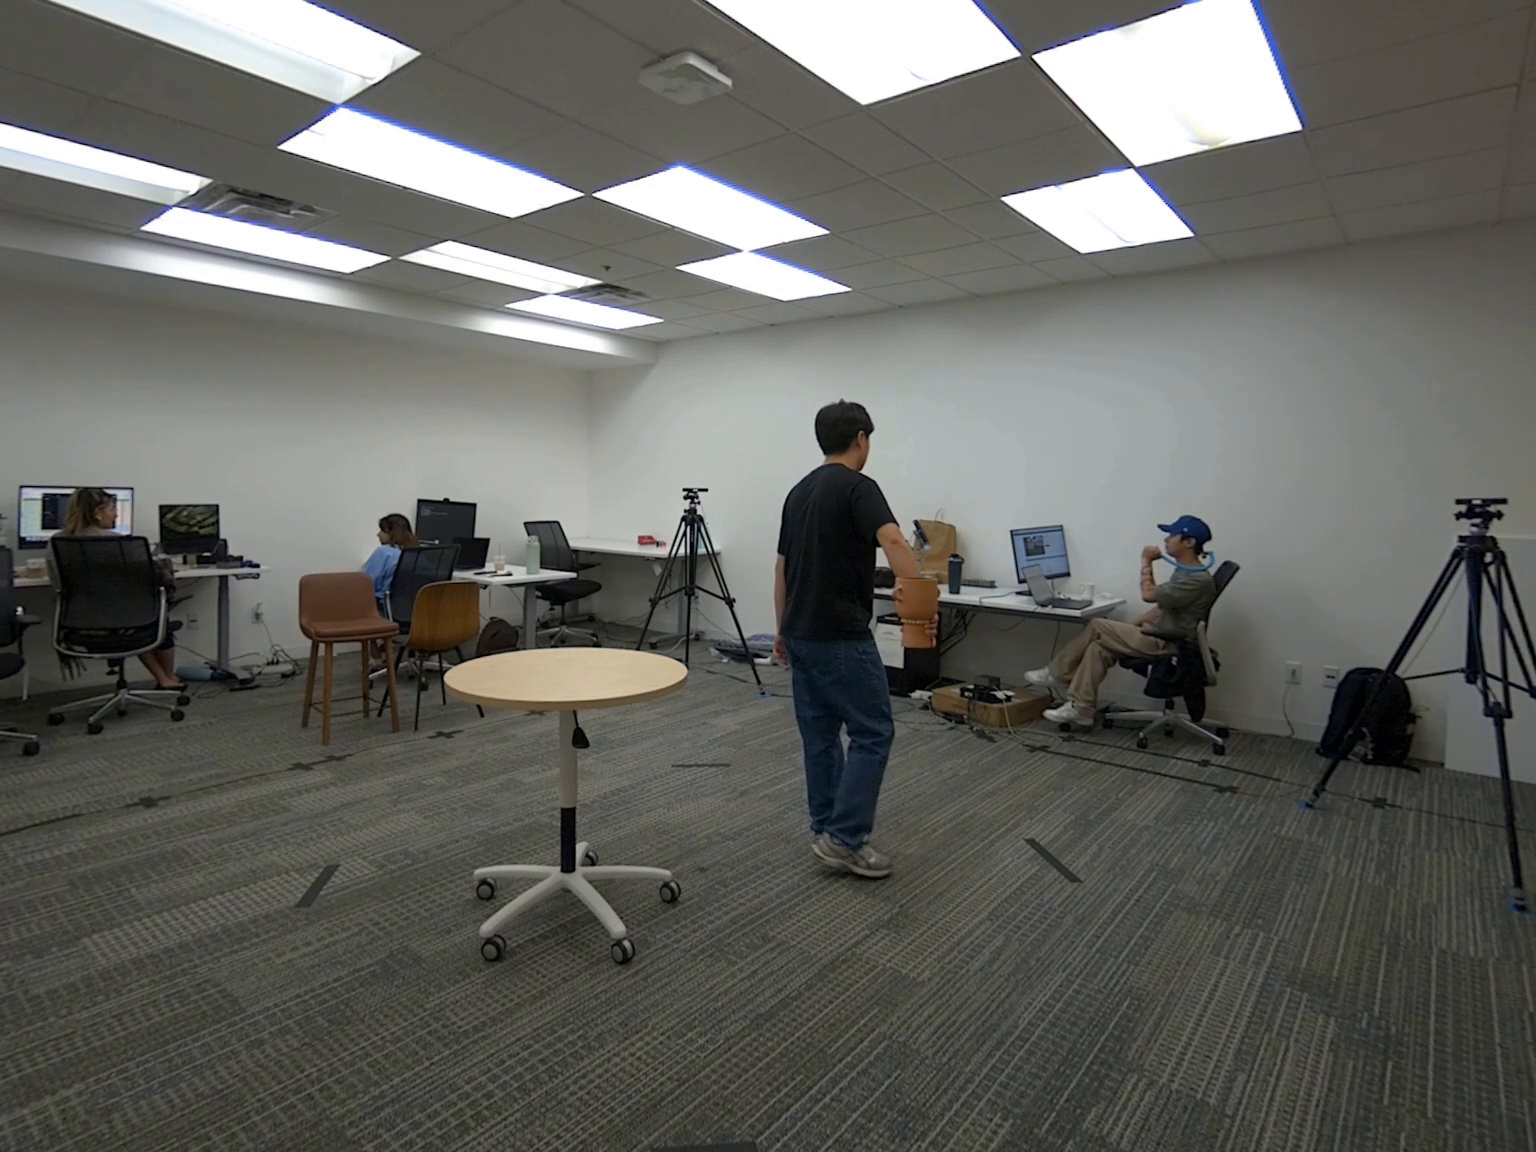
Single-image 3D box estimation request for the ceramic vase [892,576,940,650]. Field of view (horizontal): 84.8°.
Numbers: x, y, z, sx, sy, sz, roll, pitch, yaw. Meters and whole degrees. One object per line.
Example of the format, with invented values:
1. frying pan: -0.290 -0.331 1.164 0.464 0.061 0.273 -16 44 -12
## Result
1. ceramic vase: 0.485 0.114 2.765 0.160 0.220 0.134 -1 -1 4
